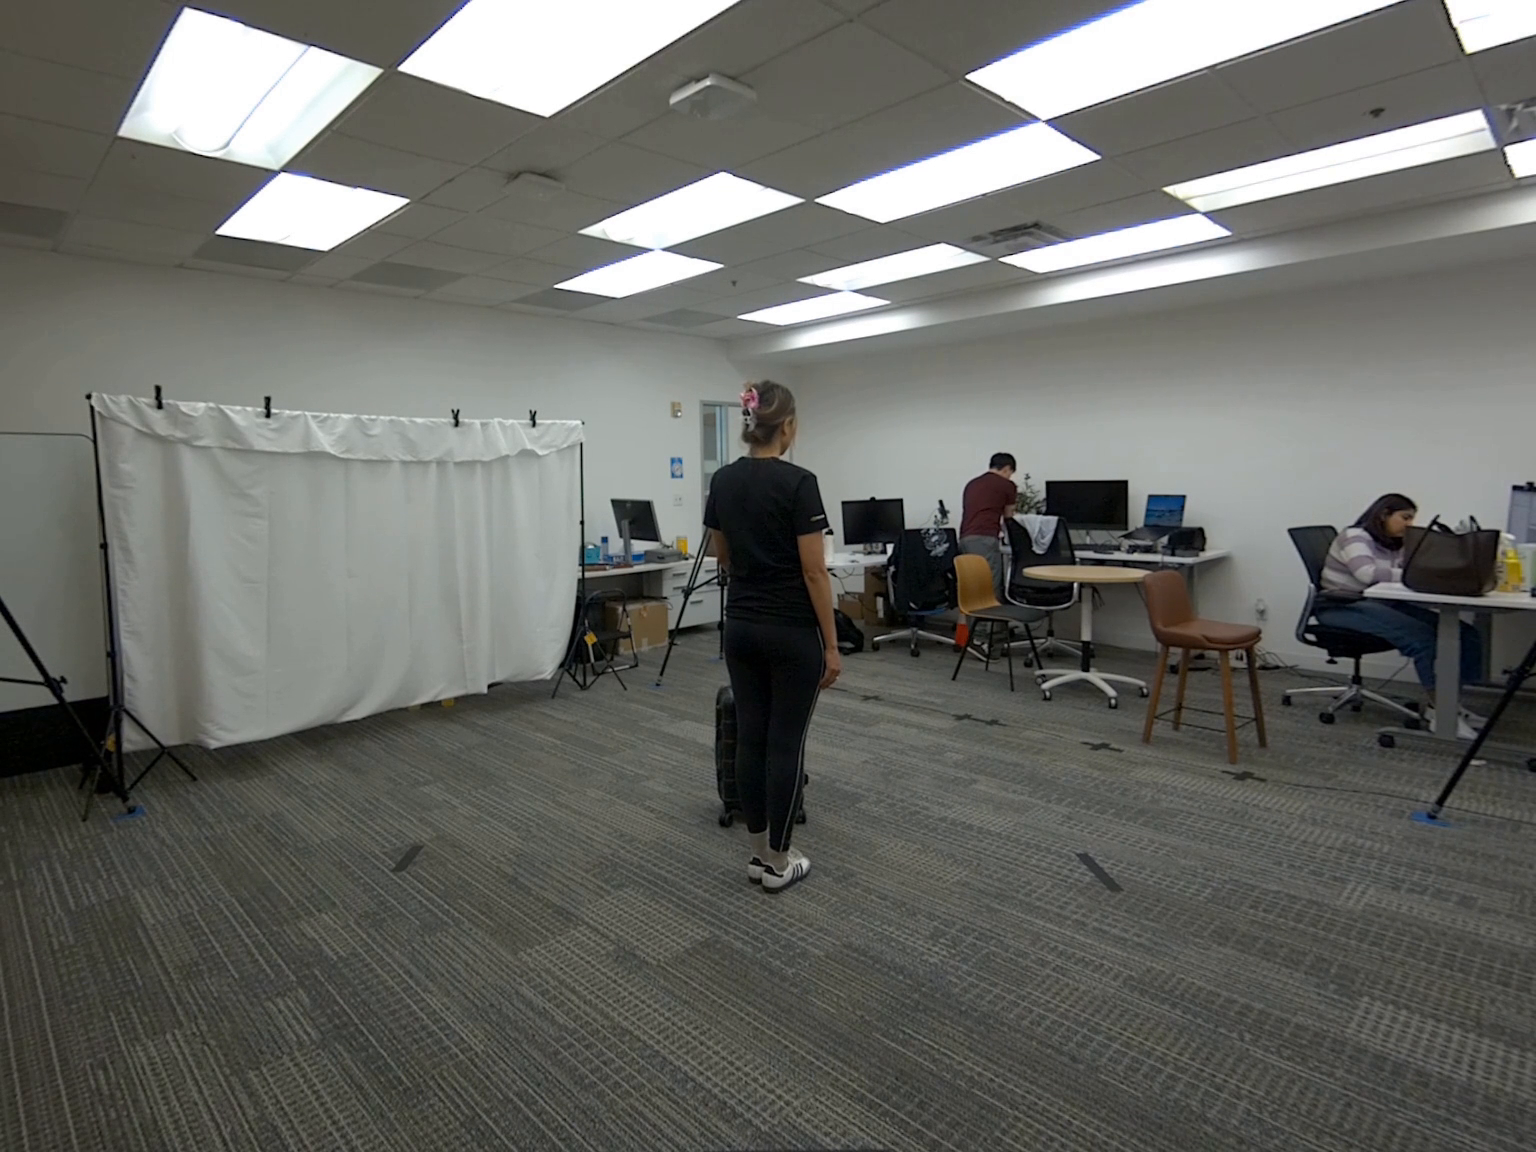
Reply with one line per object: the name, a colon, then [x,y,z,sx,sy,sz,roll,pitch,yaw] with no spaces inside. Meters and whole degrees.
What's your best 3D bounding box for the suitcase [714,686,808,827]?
suitcase: [-0.035,0.521,3.569,0.383,0.979,0.258,-1,0,-4]
